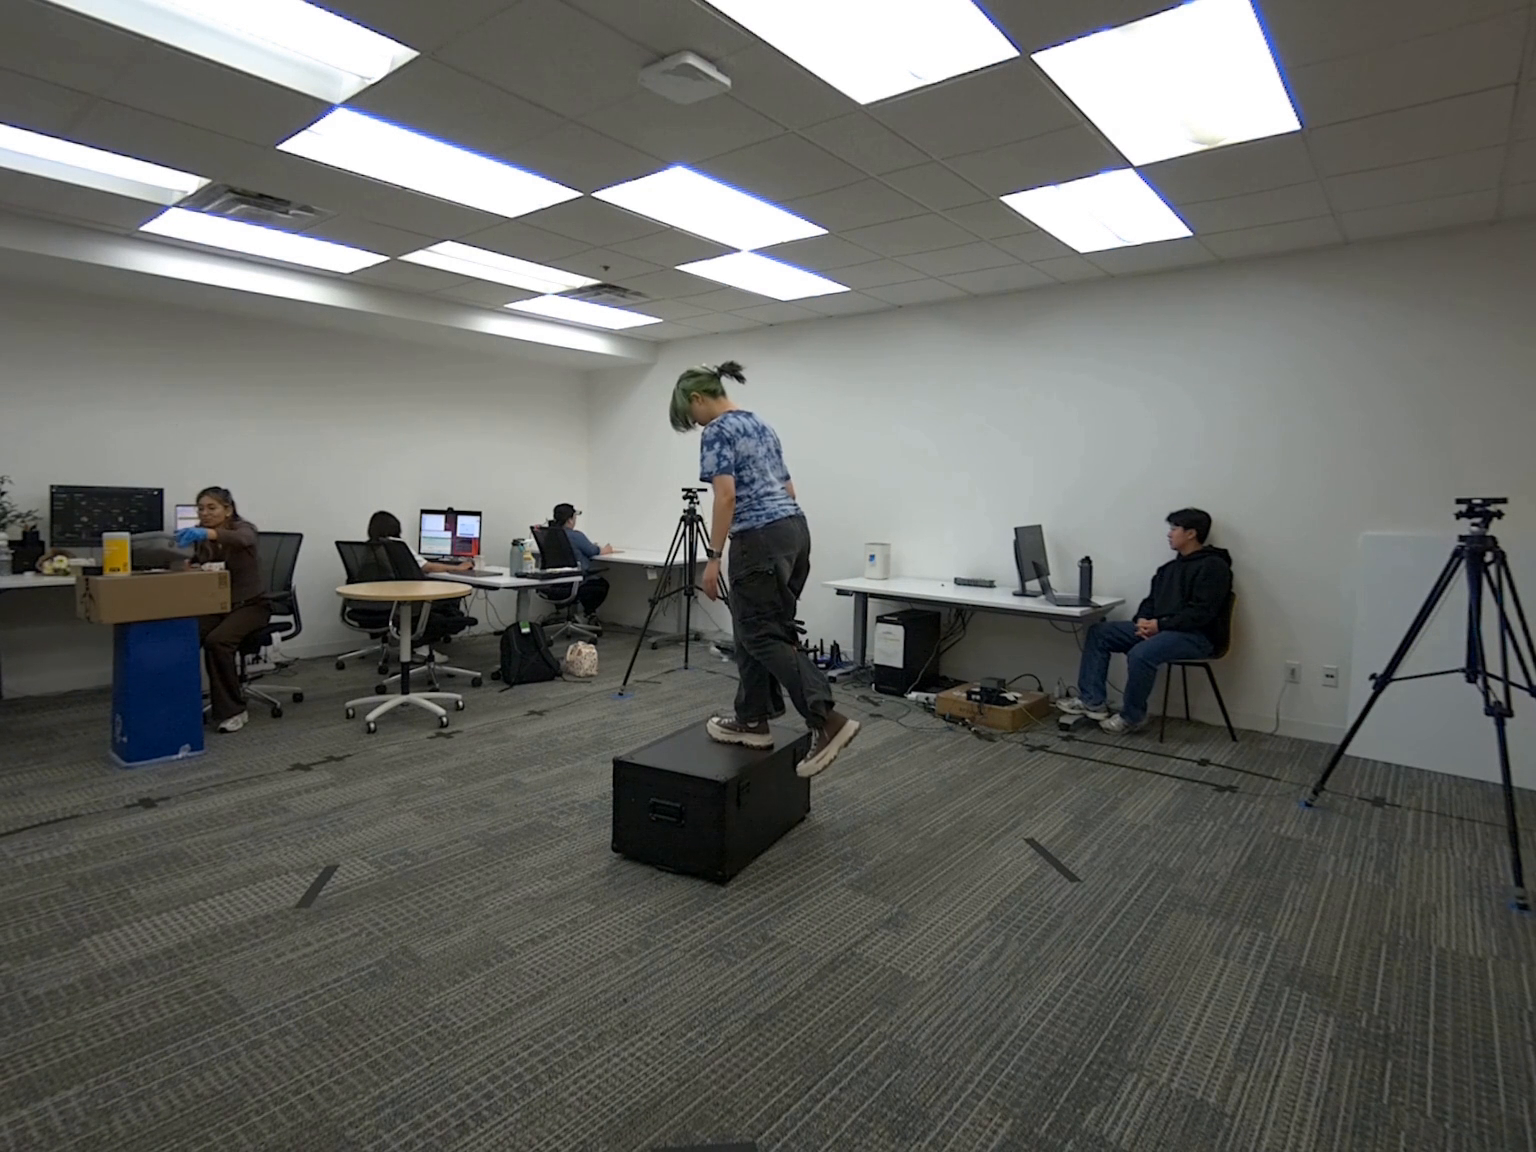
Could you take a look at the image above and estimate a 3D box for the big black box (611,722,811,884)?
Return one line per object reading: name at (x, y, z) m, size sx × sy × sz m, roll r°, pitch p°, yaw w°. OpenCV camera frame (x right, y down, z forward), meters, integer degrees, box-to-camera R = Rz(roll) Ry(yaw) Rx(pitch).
big black box at (-0.191, 0.850, 3.431) m, size 0.536 × 0.395 × 0.841 m, roll 3°, pitch 6°, yaw 27°
